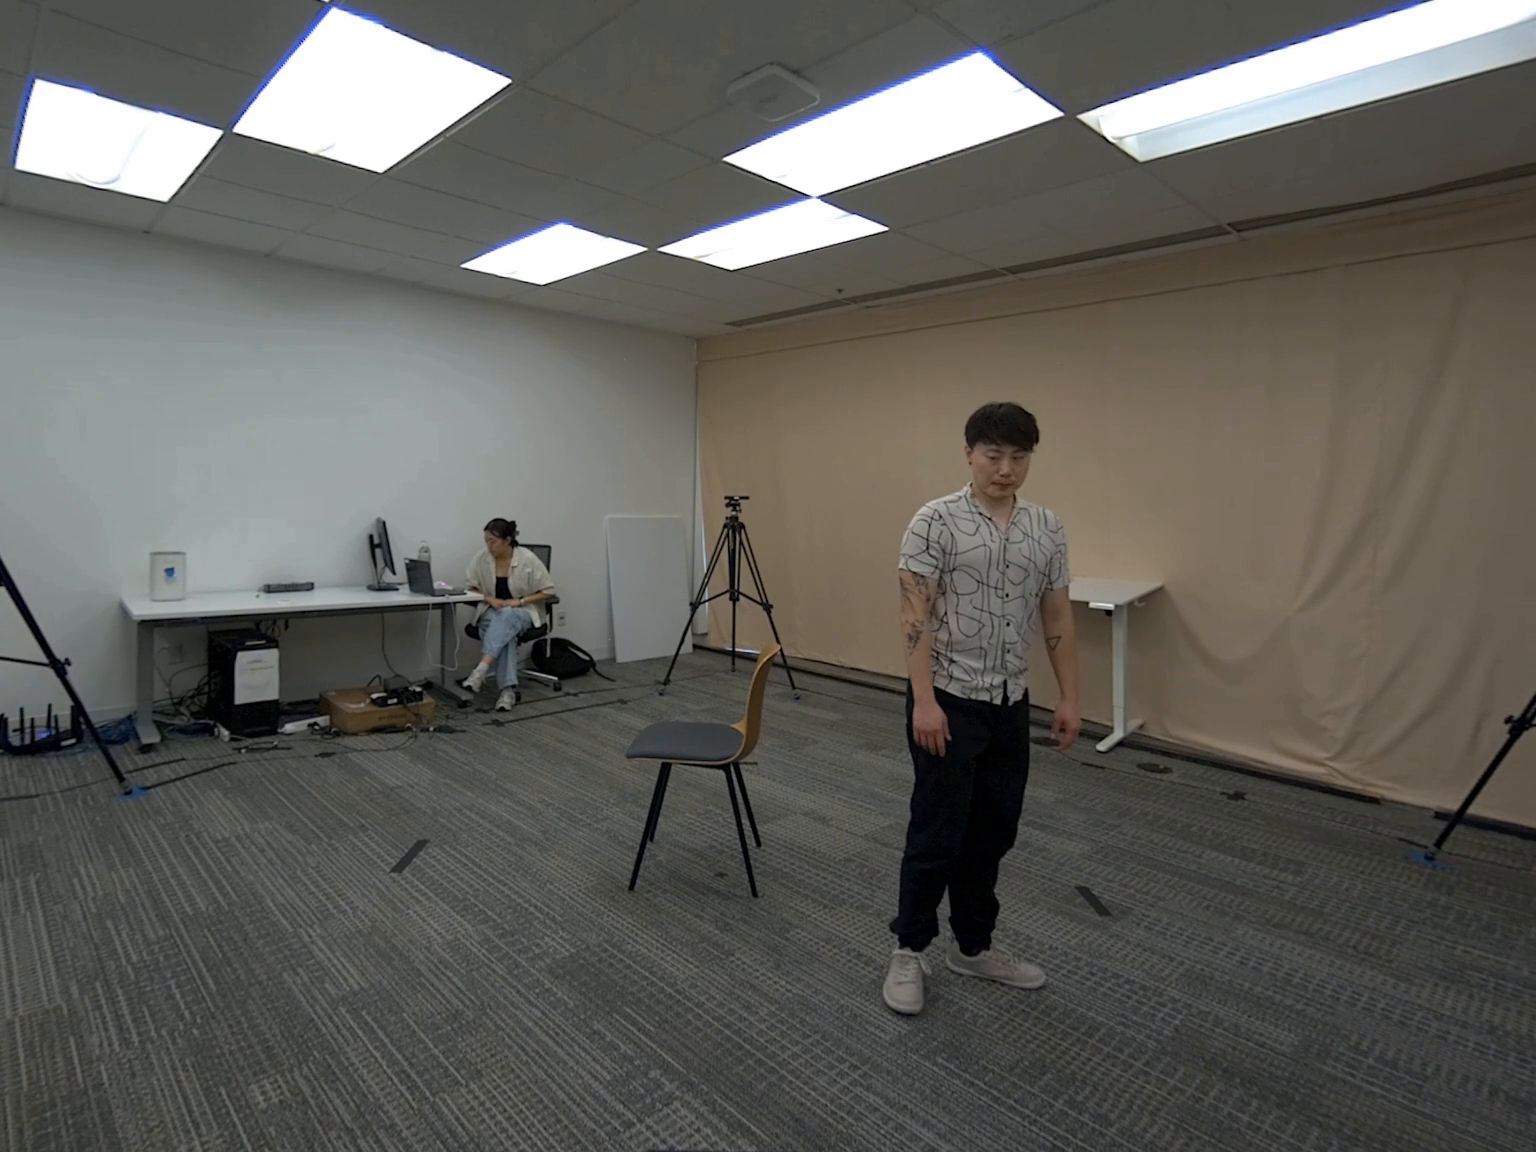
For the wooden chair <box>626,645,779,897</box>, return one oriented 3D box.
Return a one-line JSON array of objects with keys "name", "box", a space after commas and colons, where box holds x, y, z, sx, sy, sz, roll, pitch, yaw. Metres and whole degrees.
[{"name": "wooden chair", "box": [-0.261, 0.673, 3.130, 0.524, 0.875, 0.478, 5, 4, 1]}]
